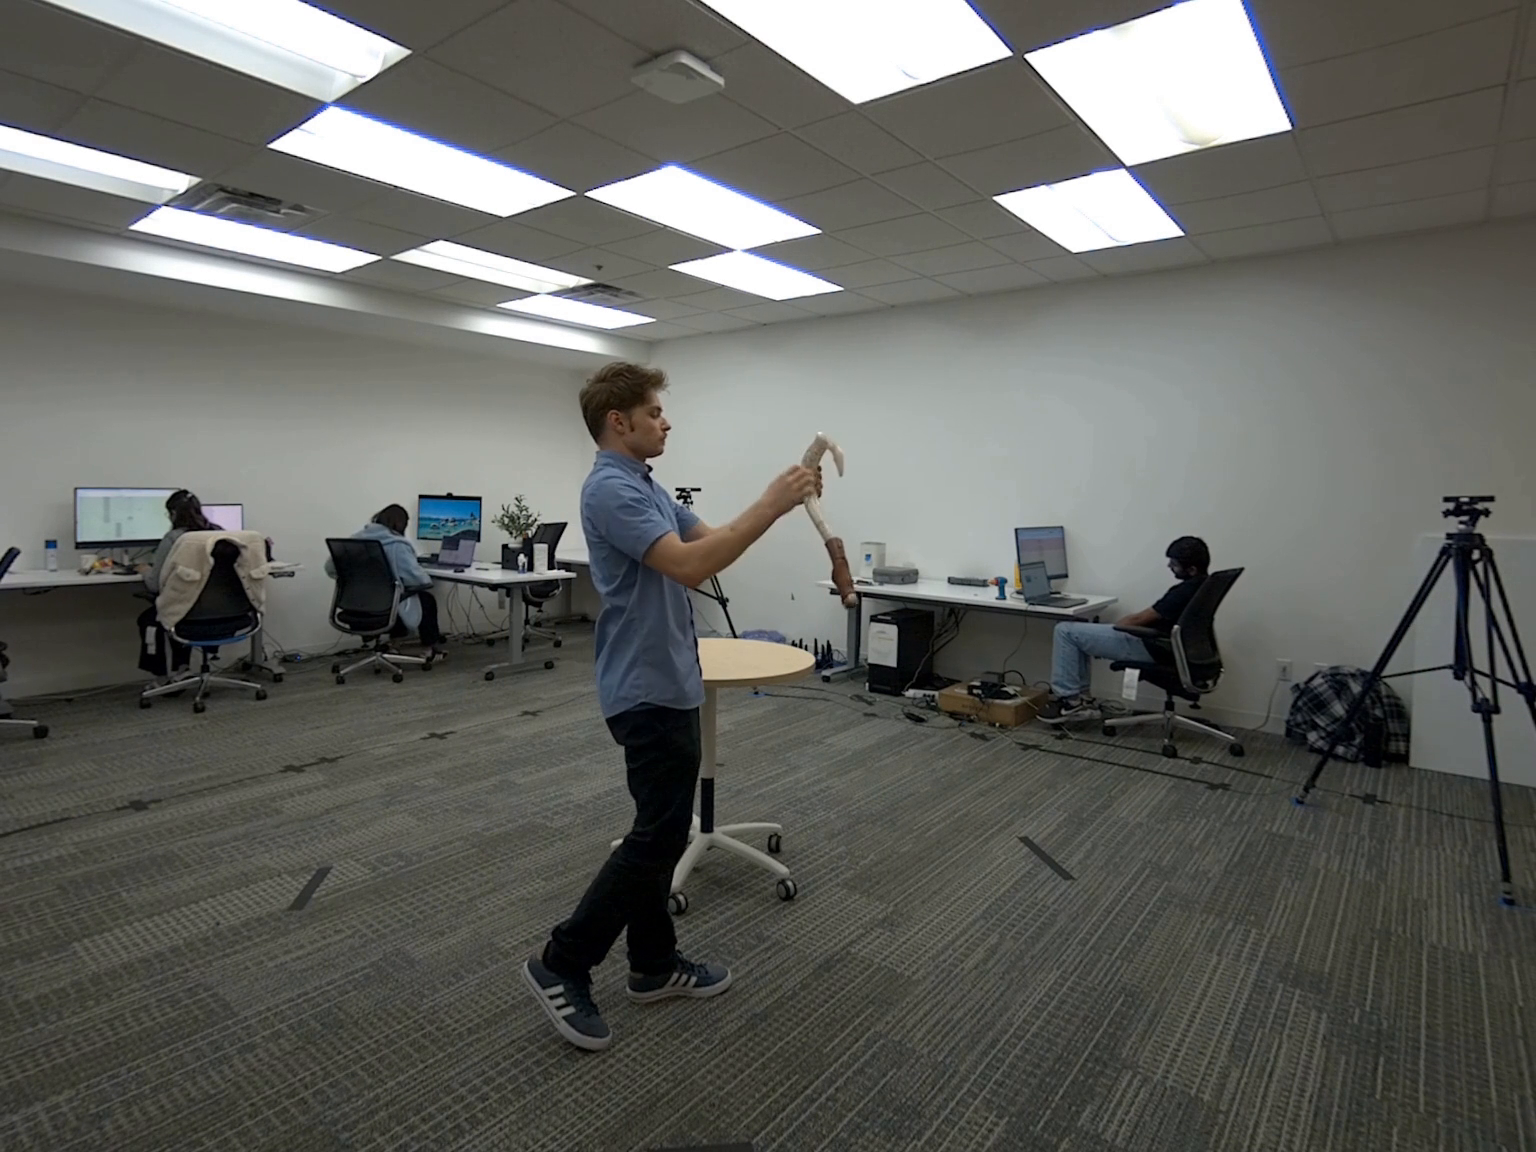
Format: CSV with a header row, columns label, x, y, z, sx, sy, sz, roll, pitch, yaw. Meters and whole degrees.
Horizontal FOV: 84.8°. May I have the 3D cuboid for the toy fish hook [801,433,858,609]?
label,x,y,z,sx,sy,sz,roll,pitch,yaw
toy fish hook,0.163,-0.154,2.168,0.047,0.523,0.222,2,-36,-22
